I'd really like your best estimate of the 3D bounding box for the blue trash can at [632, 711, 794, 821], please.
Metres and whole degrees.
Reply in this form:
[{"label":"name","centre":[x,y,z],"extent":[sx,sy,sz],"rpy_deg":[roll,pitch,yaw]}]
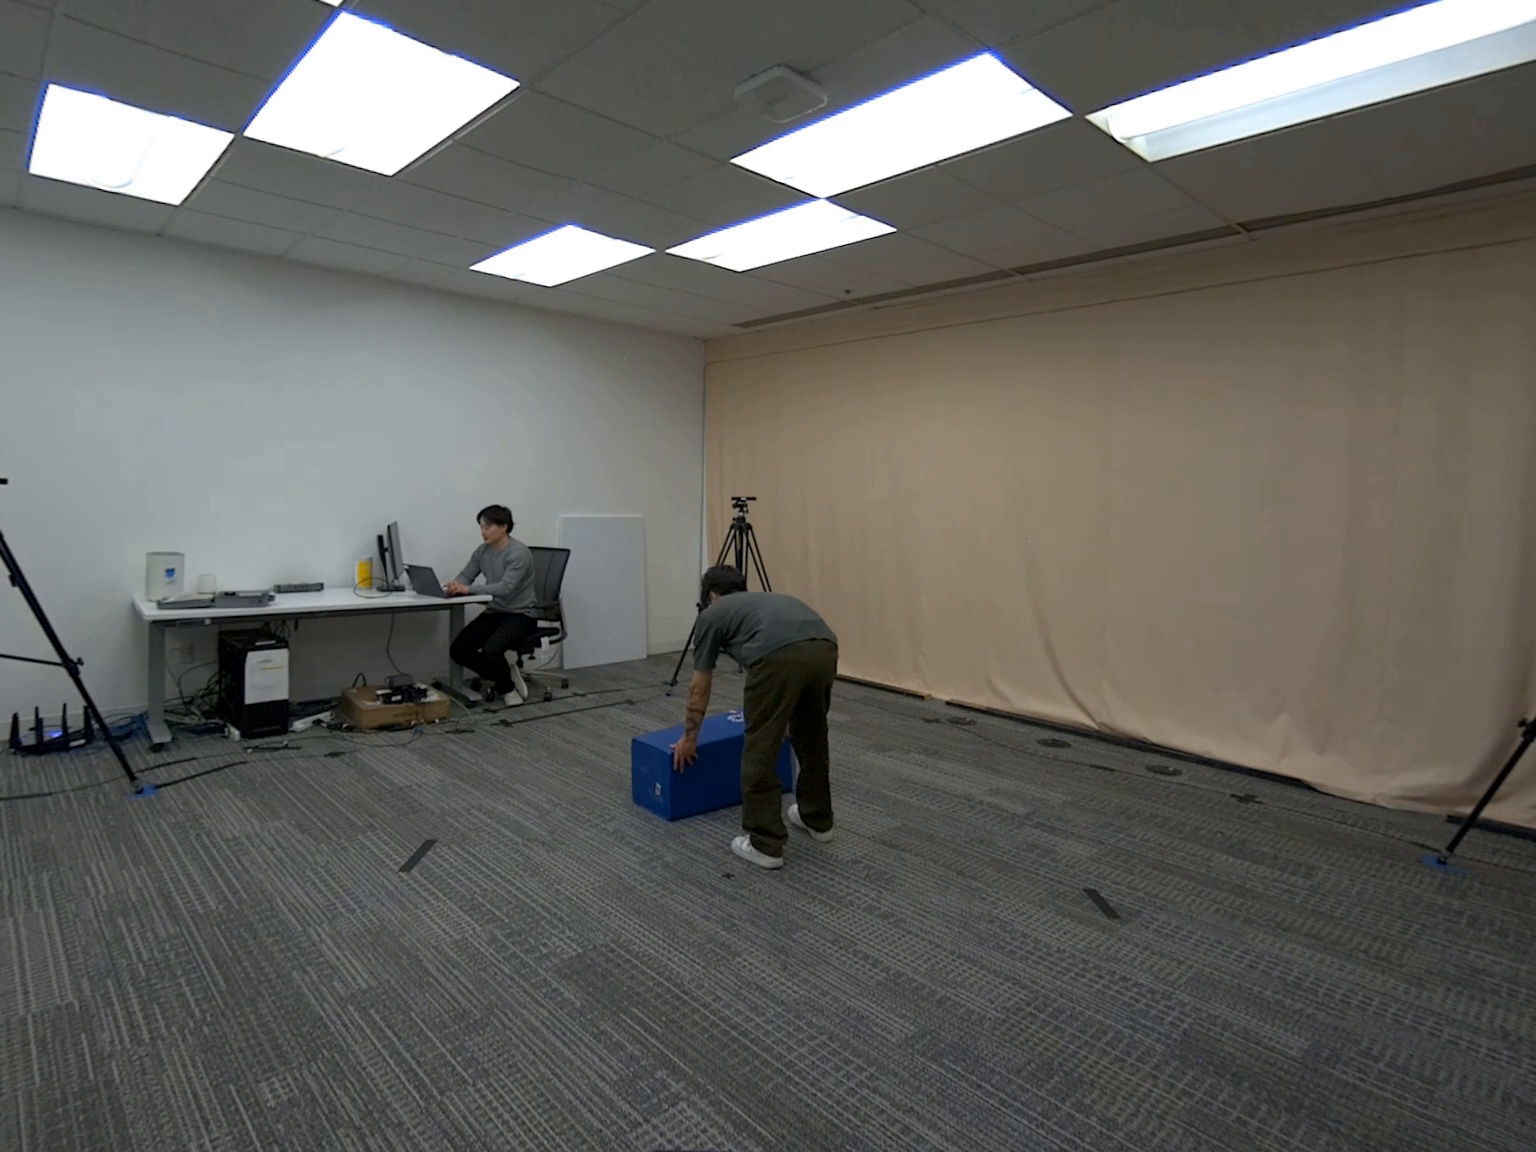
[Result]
[{"label":"blue trash can","centre":[-0.260,0.859,3.928],"extent":[0.698,0.373,0.388],"rpy_deg":[-4,7,-40]}]
